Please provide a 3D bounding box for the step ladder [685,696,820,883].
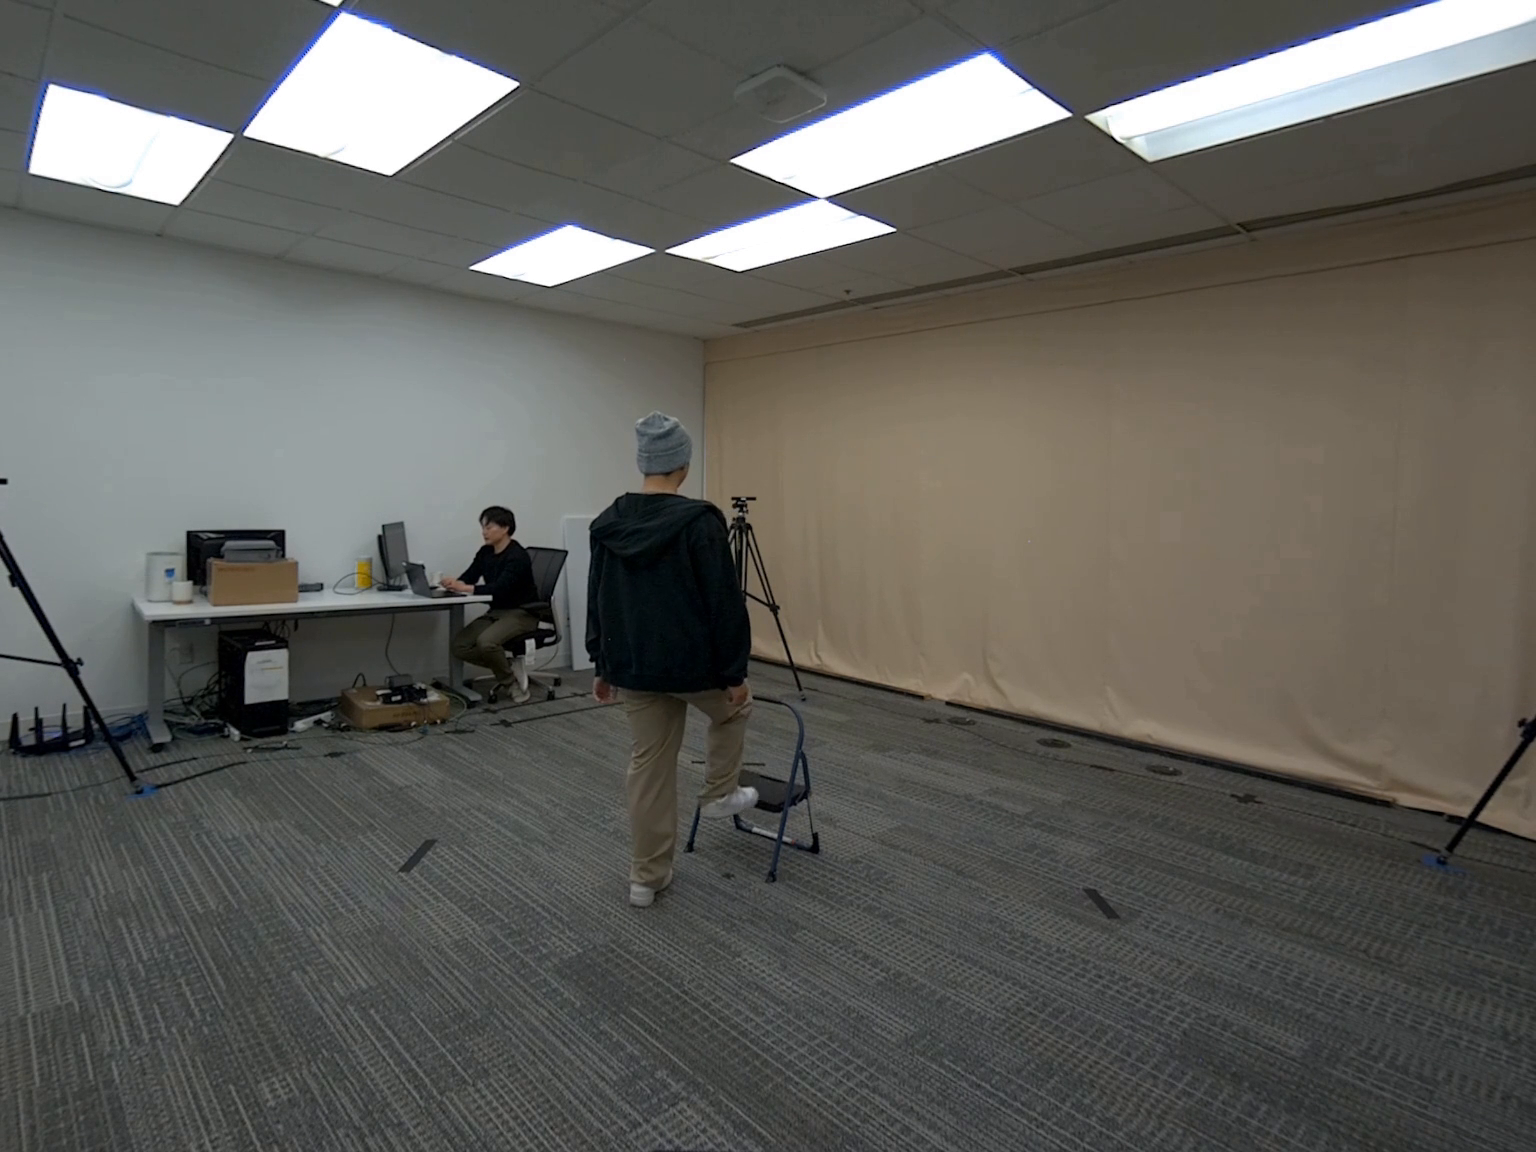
[{"bbox_3d":[-0.056,0.788,3.307,0.441,0.605,0.341,4,4,36],"label":"step ladder"}]
